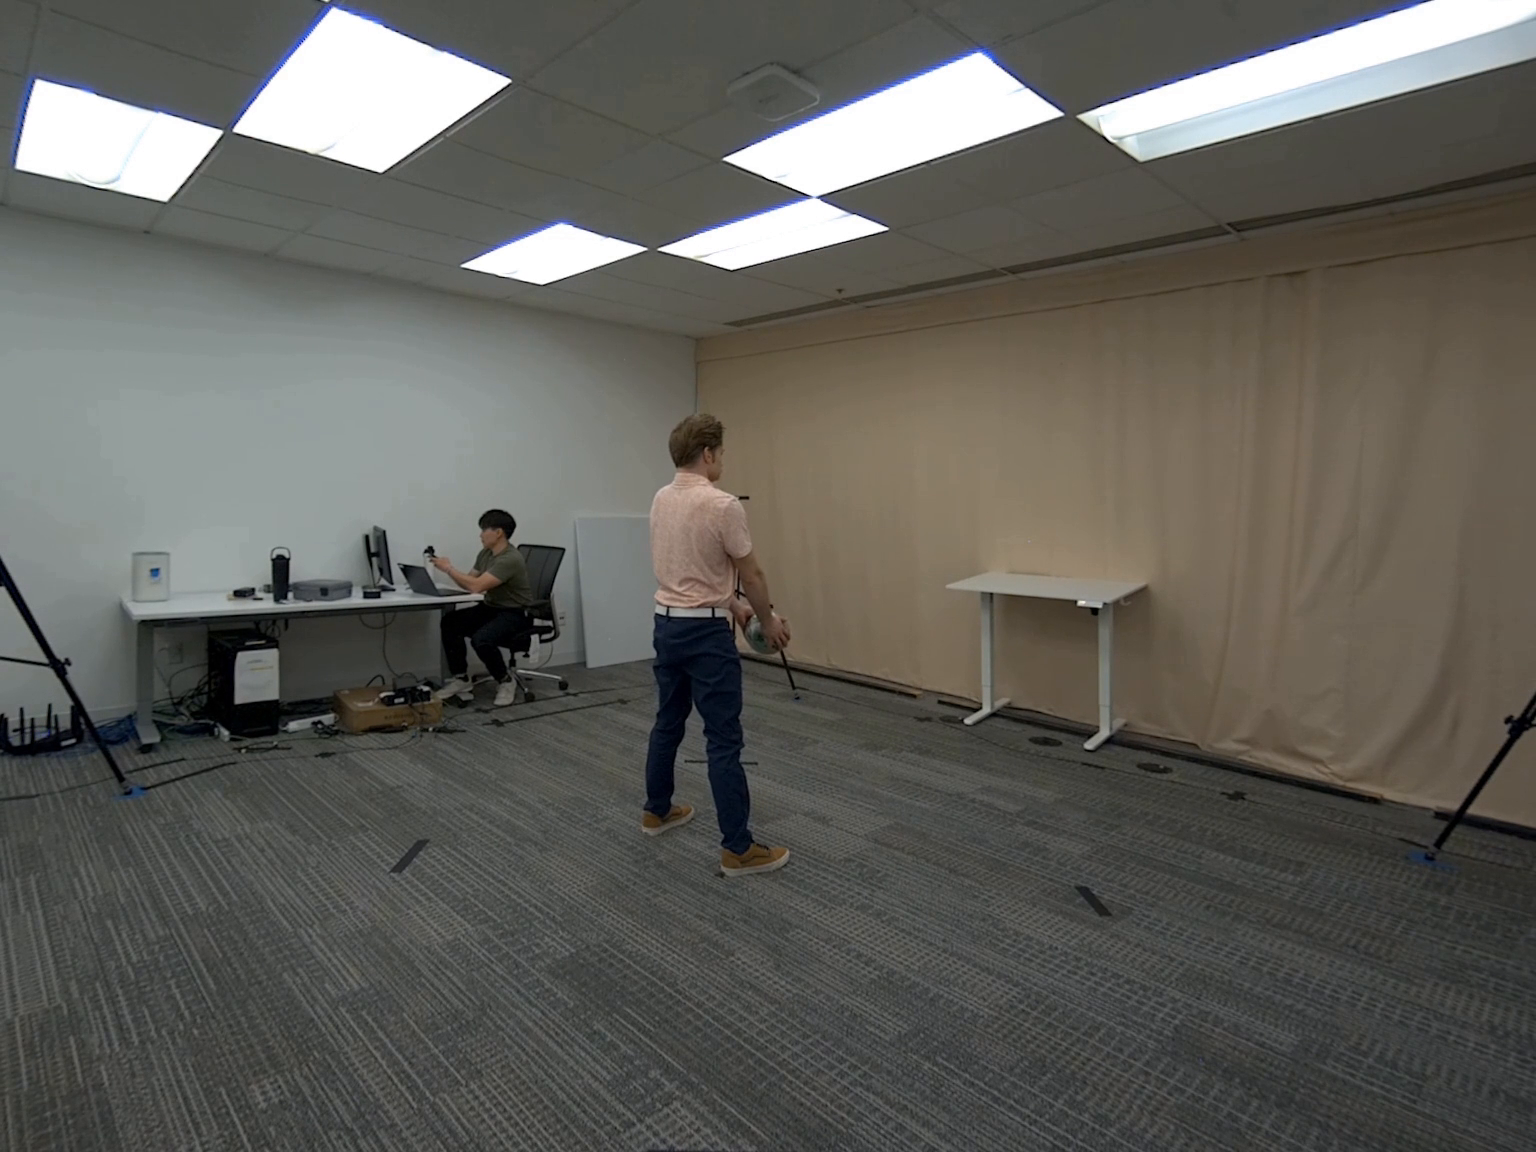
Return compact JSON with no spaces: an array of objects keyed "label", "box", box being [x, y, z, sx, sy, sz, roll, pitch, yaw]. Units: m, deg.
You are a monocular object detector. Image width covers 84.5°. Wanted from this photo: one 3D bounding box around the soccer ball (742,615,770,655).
[{"label":"soccer ball","box":[-0.007,0.236,3.541,0.187,0.187,0.188,1,4,-1]}]
